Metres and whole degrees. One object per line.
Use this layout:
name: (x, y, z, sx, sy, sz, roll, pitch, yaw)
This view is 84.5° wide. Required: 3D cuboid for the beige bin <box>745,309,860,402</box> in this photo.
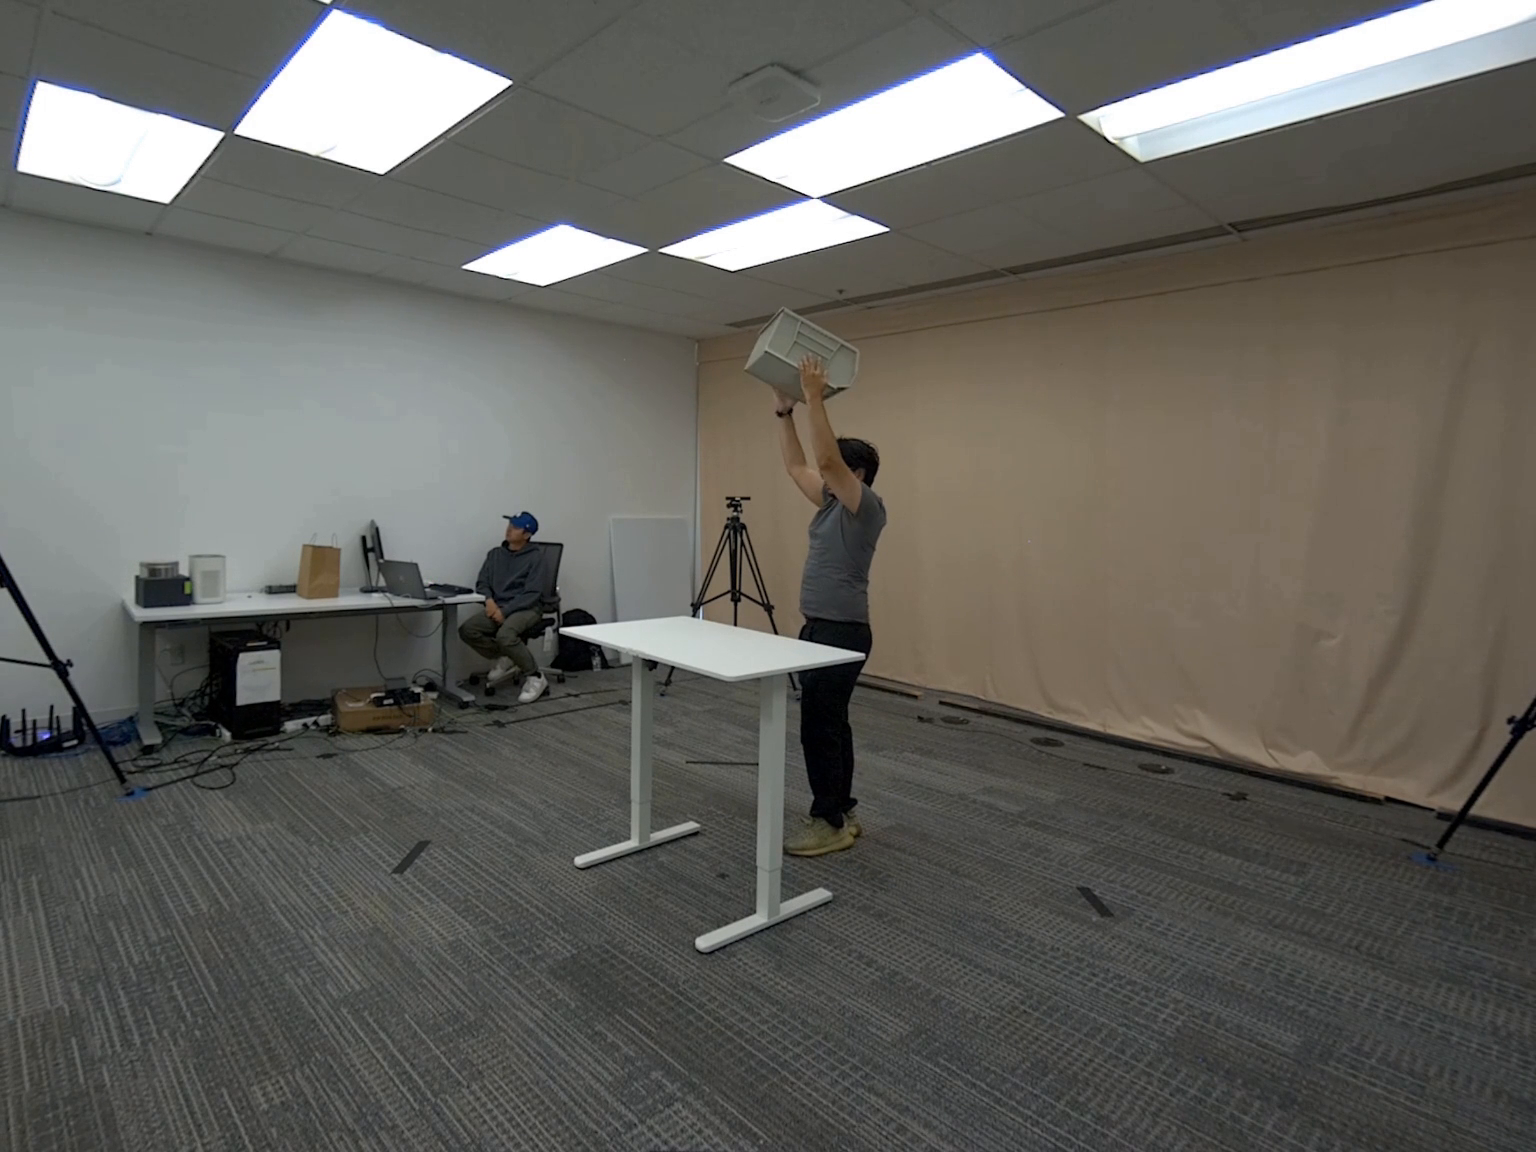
beige bin: (0.133, -0.868, 3.427, 0.373, 0.189, 0.427, 27, -3, -11)
